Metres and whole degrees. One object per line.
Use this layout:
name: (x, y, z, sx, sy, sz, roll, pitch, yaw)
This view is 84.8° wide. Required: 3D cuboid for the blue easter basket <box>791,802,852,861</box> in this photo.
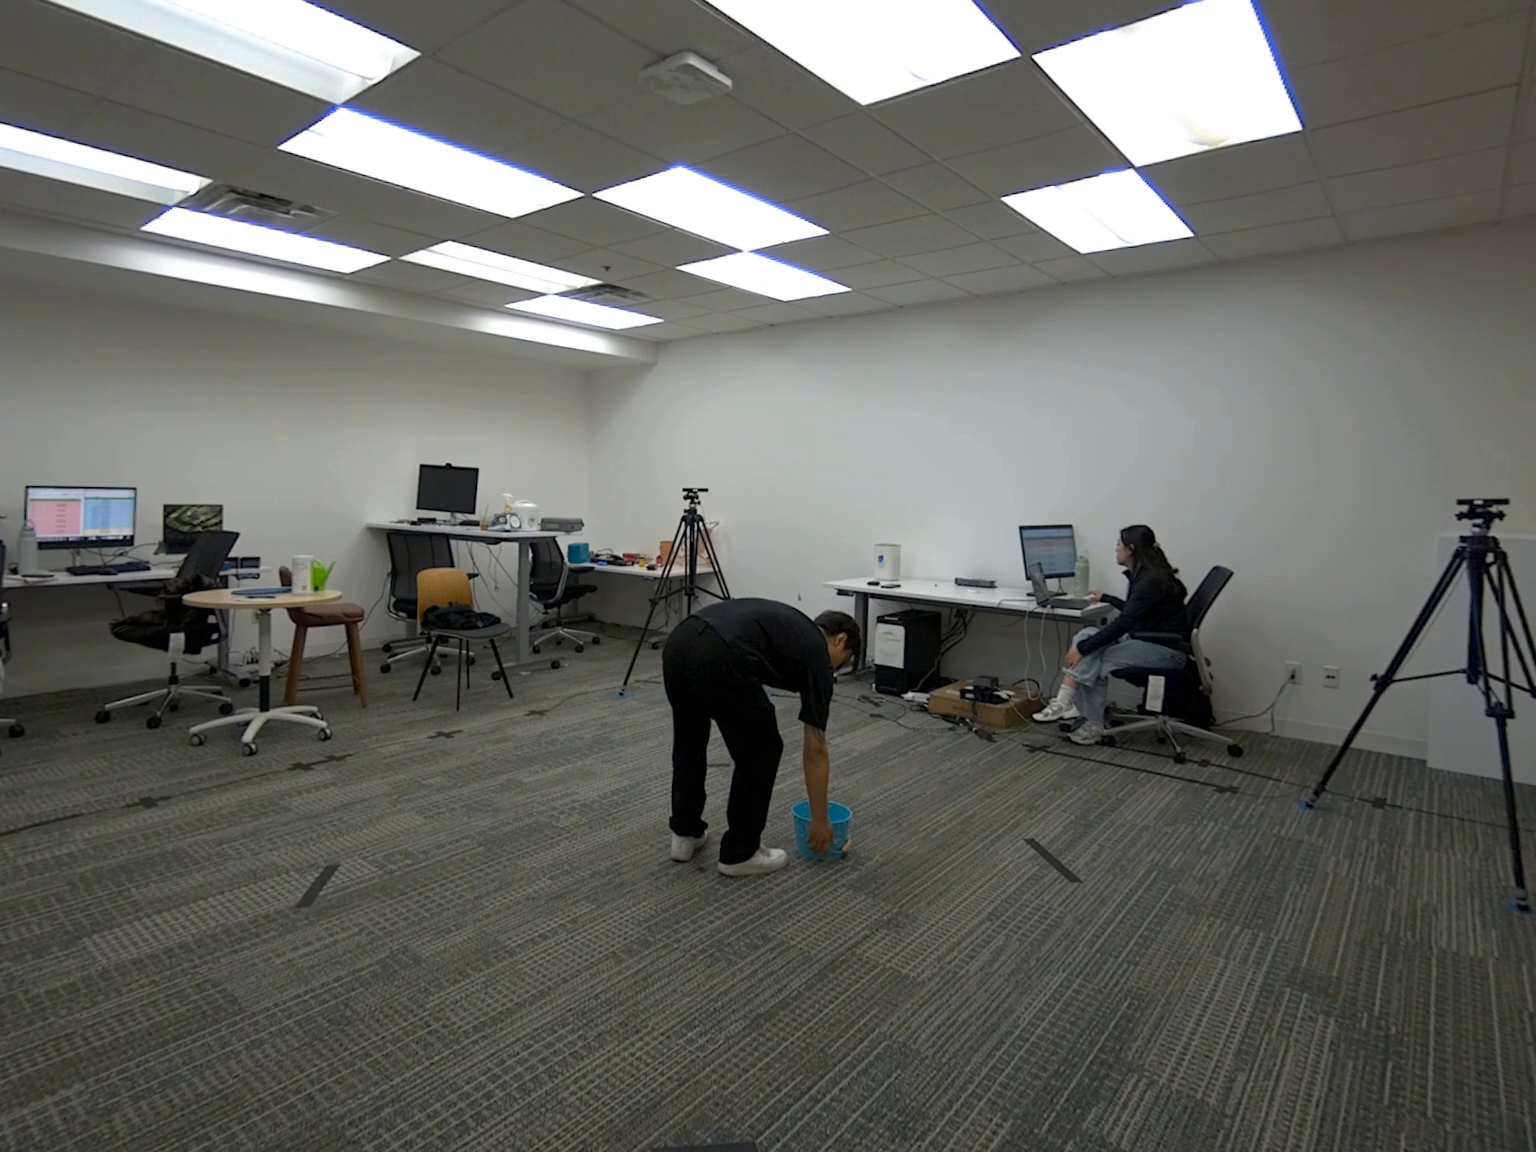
blue easter basket: (0.203, 0.983, 3.289, 0.243, 0.155, 0.245, 1, 5, -2)
